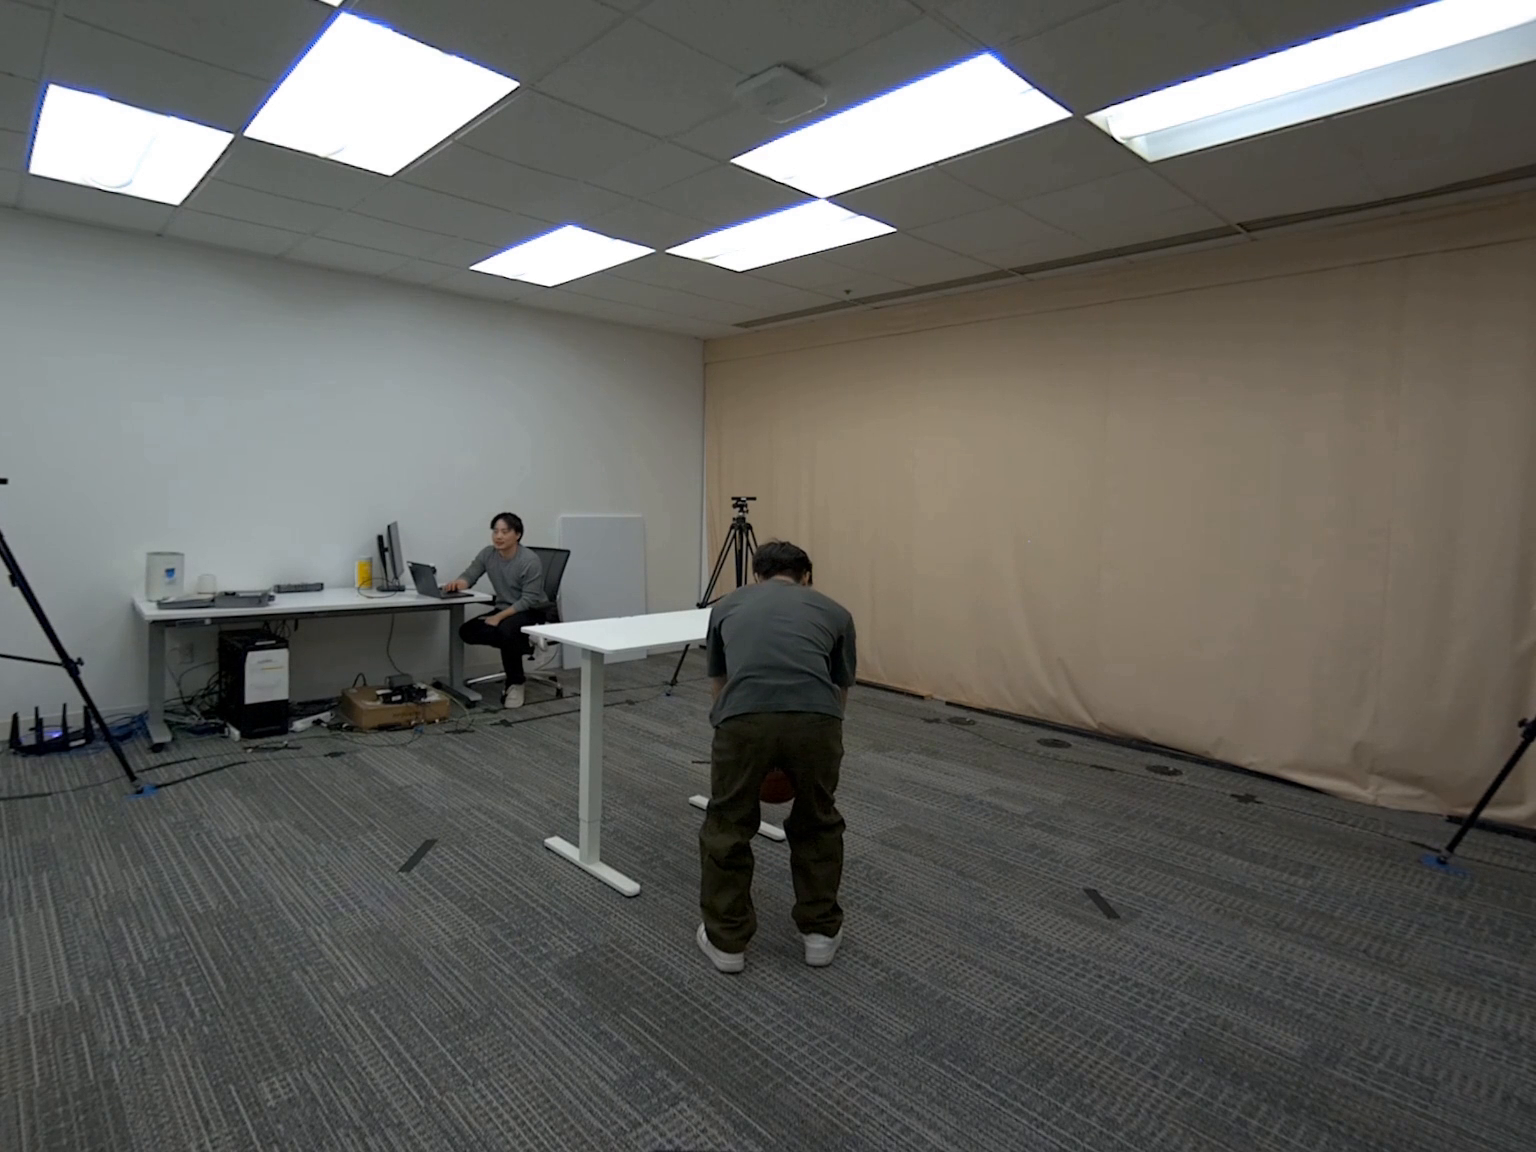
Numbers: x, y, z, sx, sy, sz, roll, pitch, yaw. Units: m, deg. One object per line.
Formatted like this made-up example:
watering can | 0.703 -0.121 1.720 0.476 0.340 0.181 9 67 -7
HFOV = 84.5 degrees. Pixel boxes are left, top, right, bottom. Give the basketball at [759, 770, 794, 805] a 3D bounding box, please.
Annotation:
basketball | 0.023 0.679 2.962 0.236 0.235 0.237 1 4 -1
